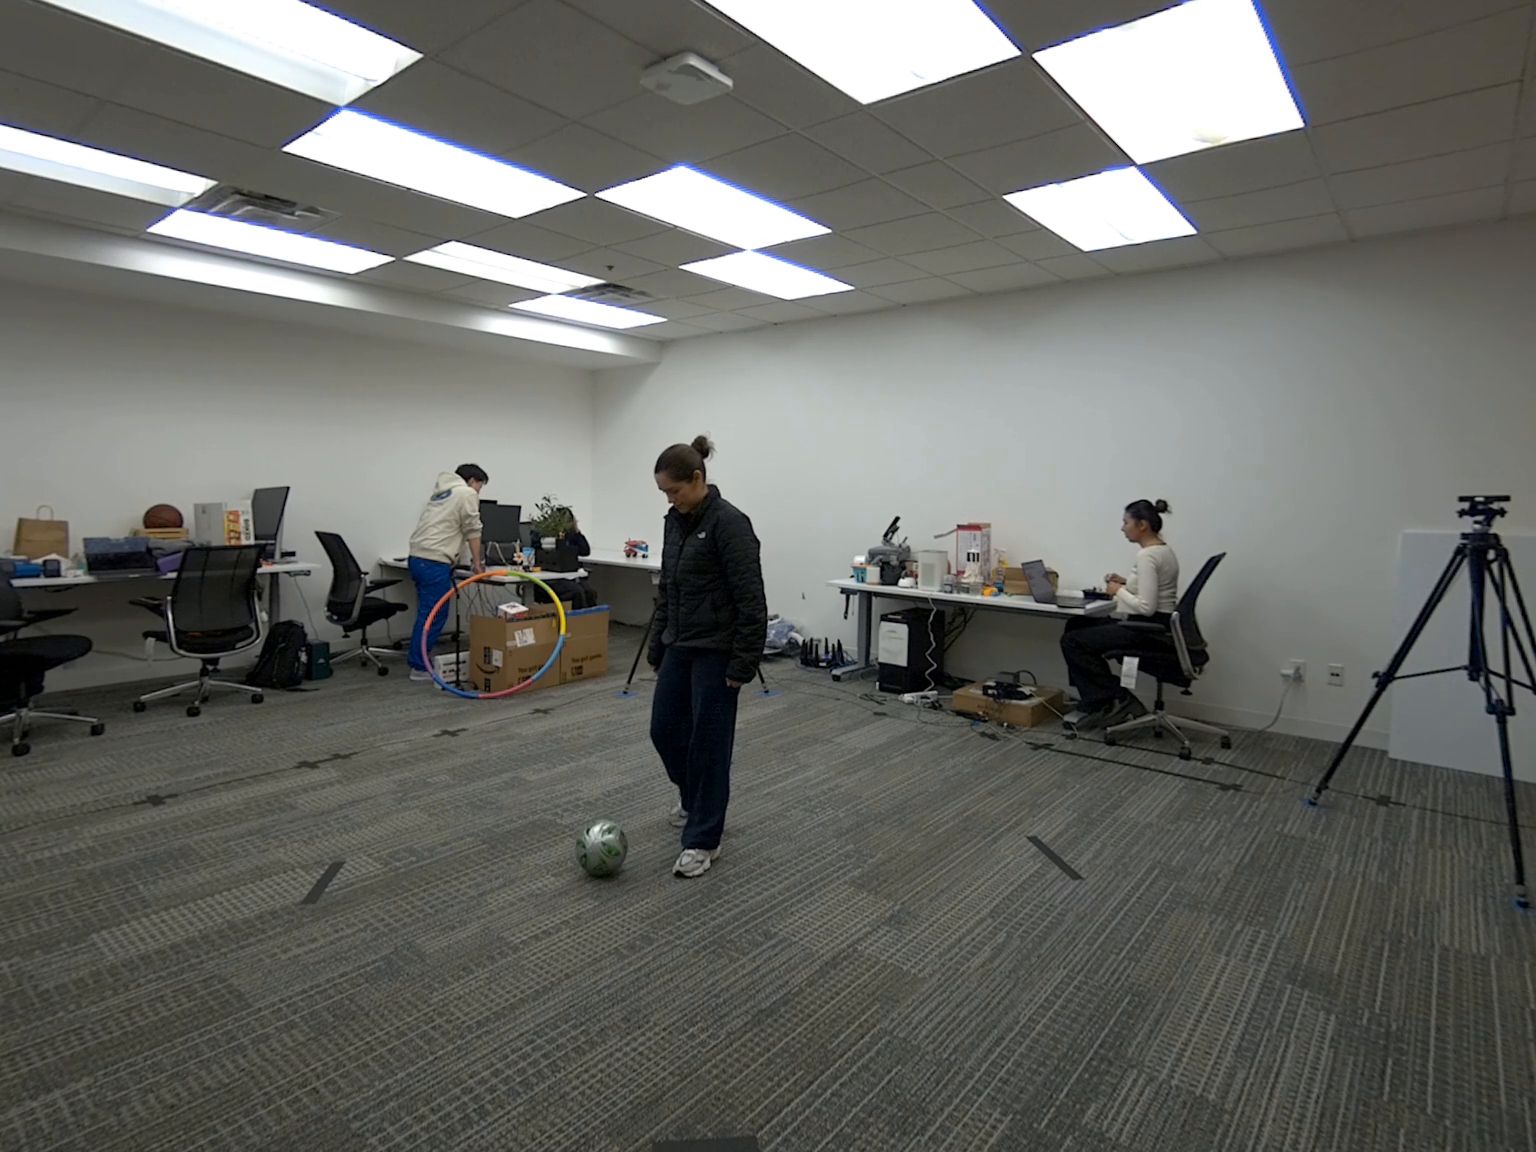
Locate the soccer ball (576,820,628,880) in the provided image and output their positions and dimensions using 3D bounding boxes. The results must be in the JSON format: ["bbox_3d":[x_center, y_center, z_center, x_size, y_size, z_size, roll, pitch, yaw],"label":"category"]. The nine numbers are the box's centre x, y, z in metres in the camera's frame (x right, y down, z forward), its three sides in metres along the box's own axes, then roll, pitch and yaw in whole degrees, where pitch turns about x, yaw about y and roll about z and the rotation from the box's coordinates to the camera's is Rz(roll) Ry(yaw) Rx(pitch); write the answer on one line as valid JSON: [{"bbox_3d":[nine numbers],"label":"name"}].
[{"bbox_3d":[-0.605,0.972,3.047,0.187,0.187,0.188,1,4,-2],"label":"soccer ball"}]
